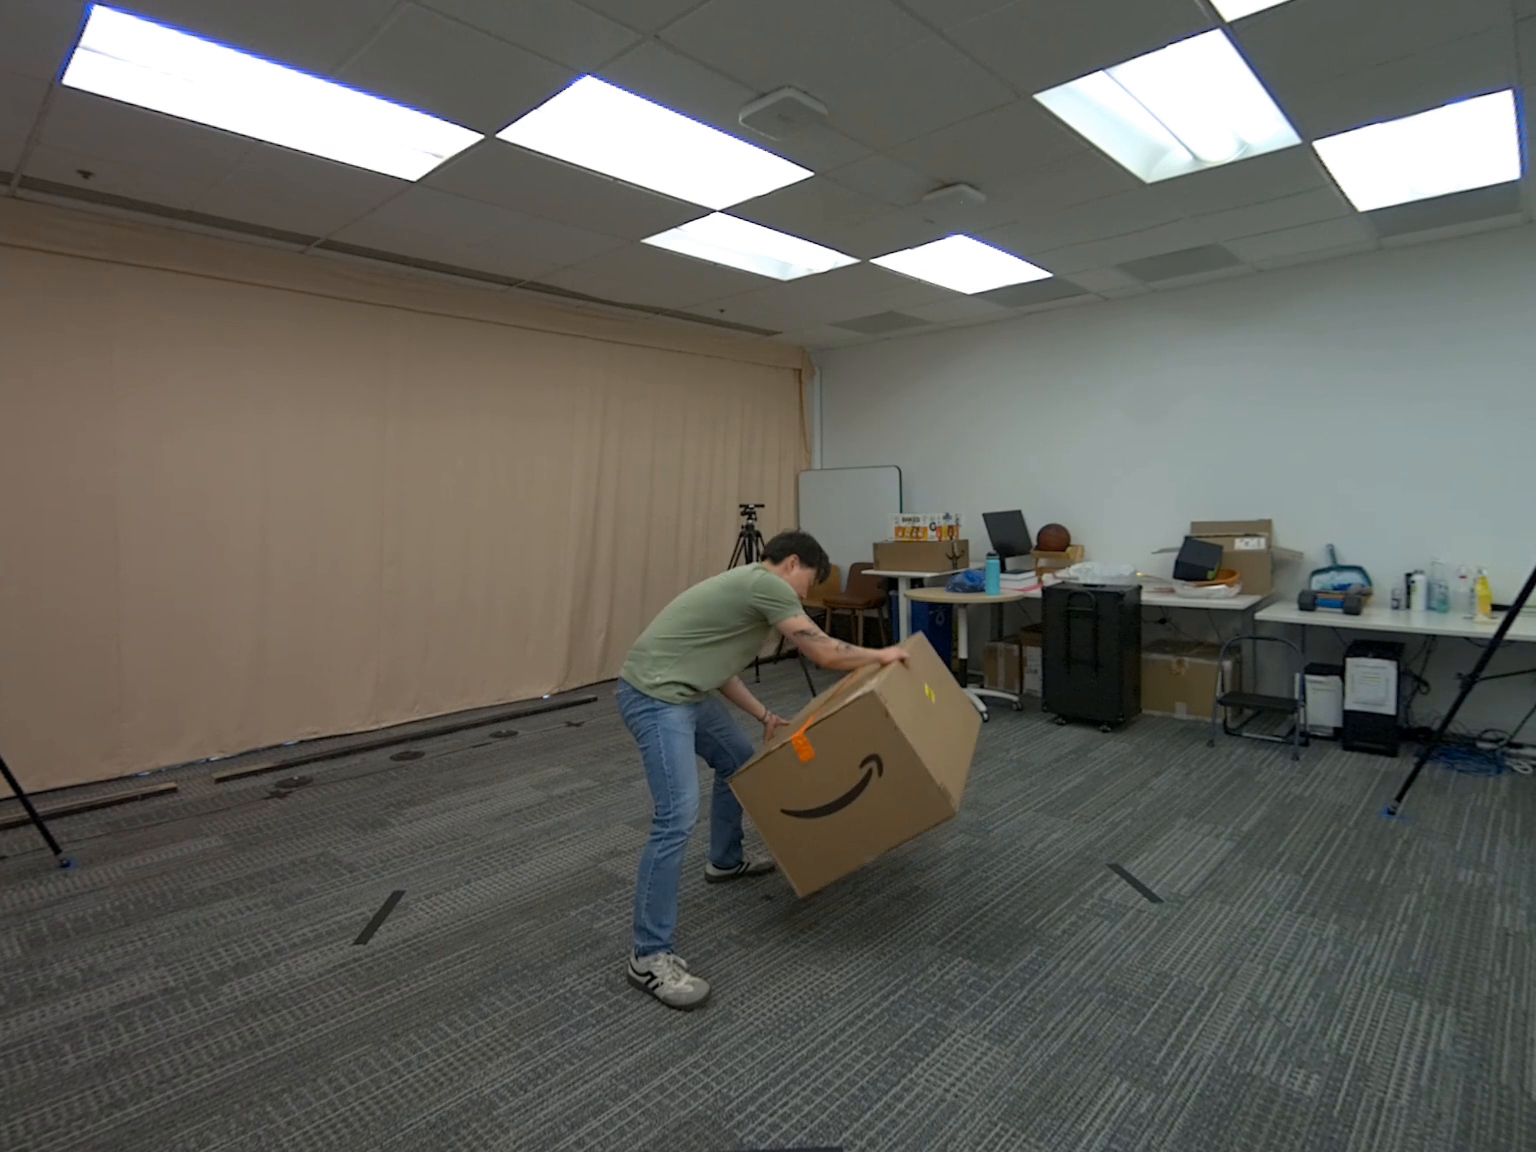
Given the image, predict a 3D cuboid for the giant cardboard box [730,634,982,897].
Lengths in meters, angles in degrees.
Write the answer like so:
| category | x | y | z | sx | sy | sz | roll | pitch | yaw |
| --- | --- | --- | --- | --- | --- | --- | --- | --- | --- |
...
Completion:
| category | x | y | z | sx | sy | sz | roll | pitch | yaw |
| --- | --- | --- | --- | --- | --- | --- | --- | --- | --- |
| giant cardboard box | 0.363 | 0.594 | 2.995 | 0.583 | 0.430 | 1.008 | -35 | -6 | 19 |
